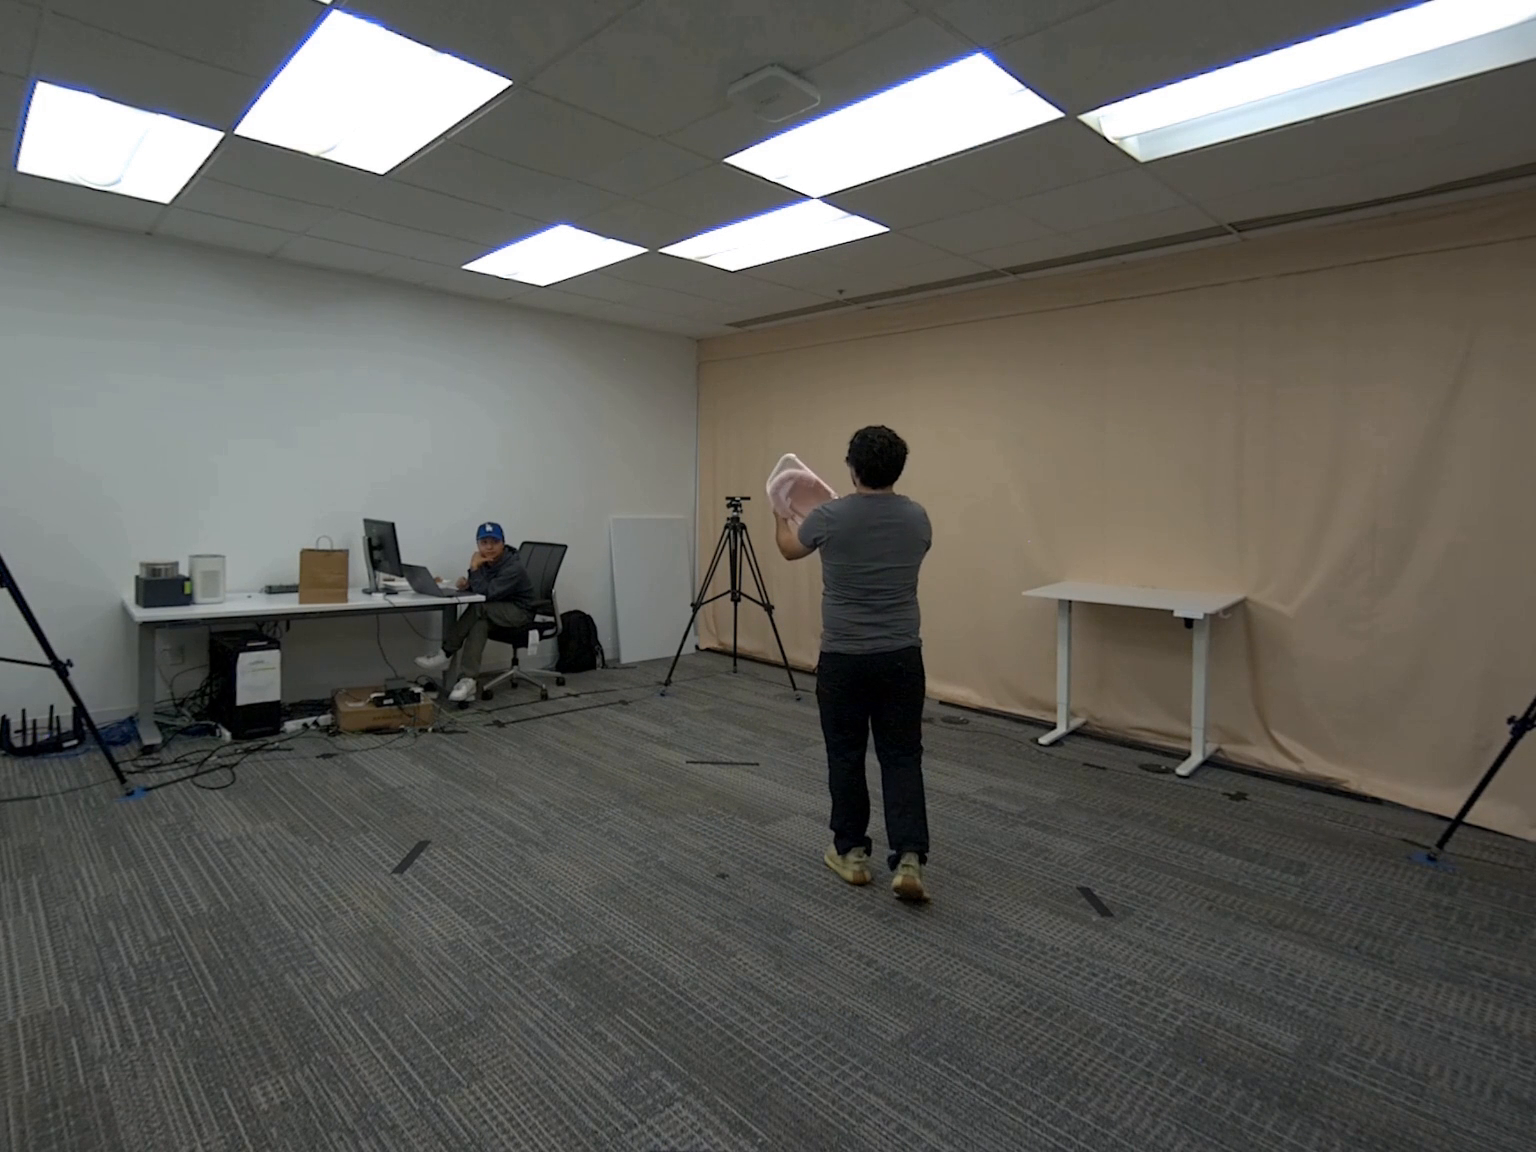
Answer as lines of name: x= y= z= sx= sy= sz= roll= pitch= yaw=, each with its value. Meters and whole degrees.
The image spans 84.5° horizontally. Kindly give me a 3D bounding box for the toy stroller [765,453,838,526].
toy stroller: x=0.210 y=-0.258 z=3.408 sx=0.535 sy=0.281 sz=0.342 roll=36 pitch=20 yaw=-1
